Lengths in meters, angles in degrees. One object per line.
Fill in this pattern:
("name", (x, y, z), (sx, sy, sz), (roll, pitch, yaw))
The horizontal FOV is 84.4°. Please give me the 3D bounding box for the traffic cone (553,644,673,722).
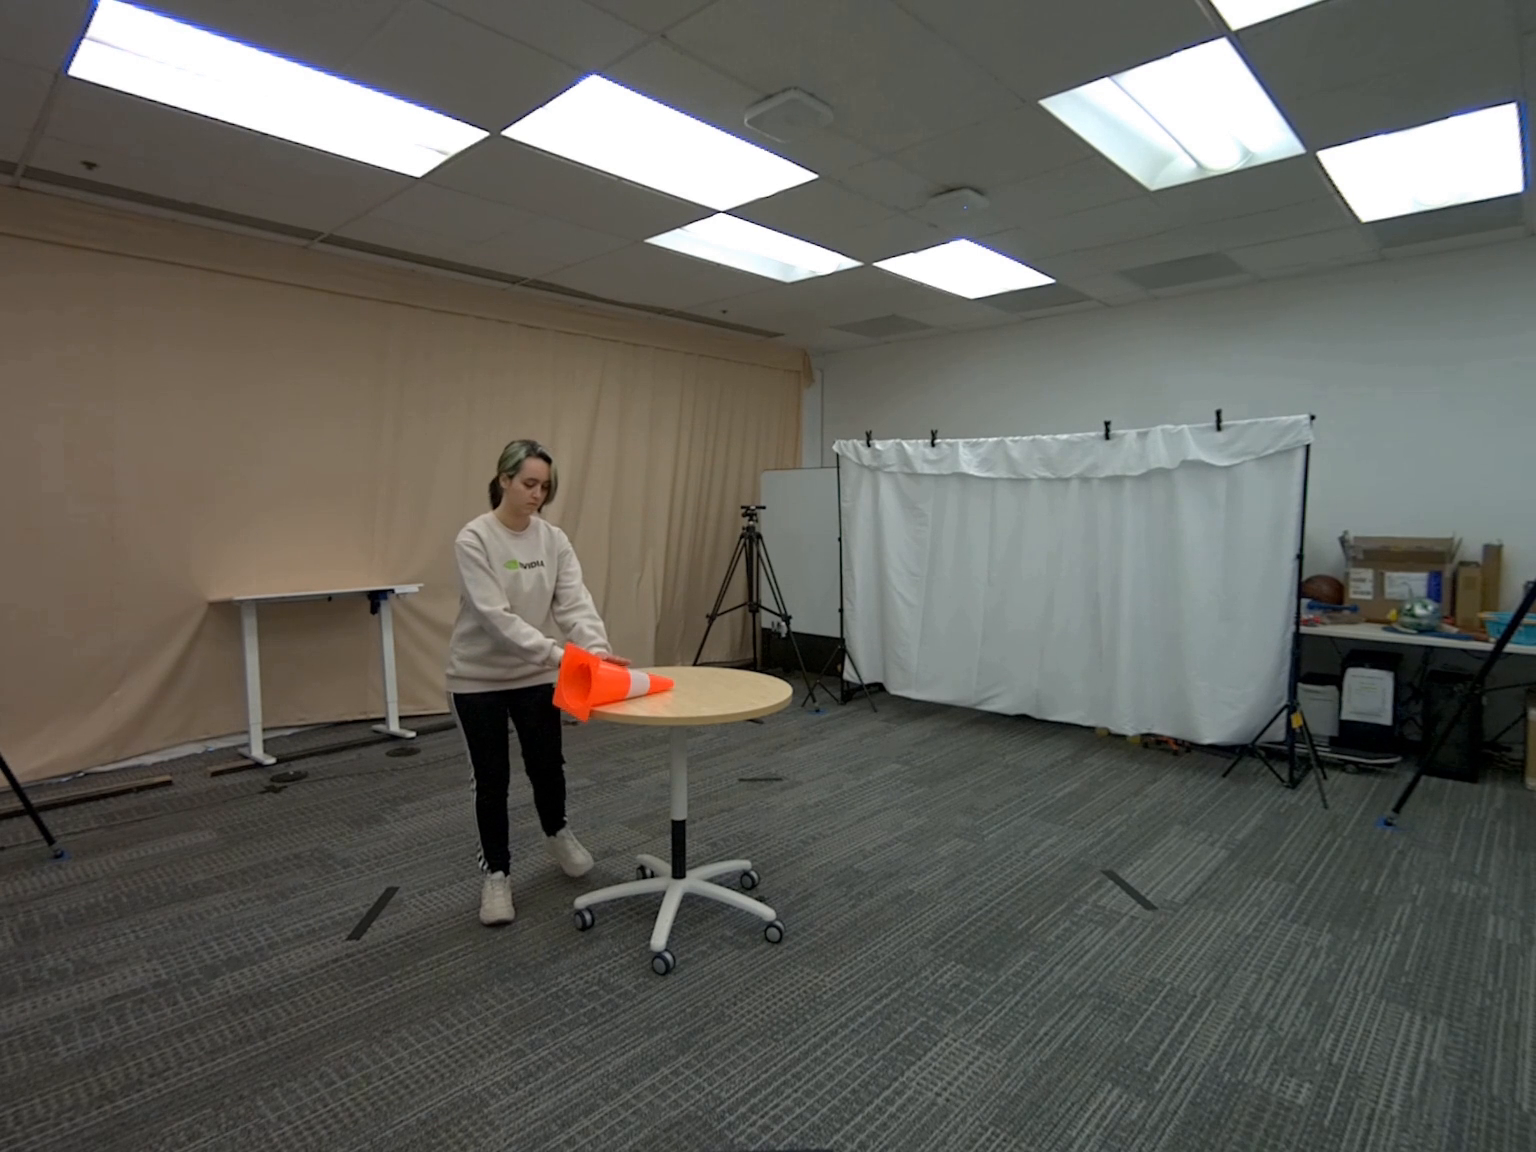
("traffic cone", (-0.450, 0.342, 2.659), (0.370, 0.205, 0.211), (10, 3, -44))
